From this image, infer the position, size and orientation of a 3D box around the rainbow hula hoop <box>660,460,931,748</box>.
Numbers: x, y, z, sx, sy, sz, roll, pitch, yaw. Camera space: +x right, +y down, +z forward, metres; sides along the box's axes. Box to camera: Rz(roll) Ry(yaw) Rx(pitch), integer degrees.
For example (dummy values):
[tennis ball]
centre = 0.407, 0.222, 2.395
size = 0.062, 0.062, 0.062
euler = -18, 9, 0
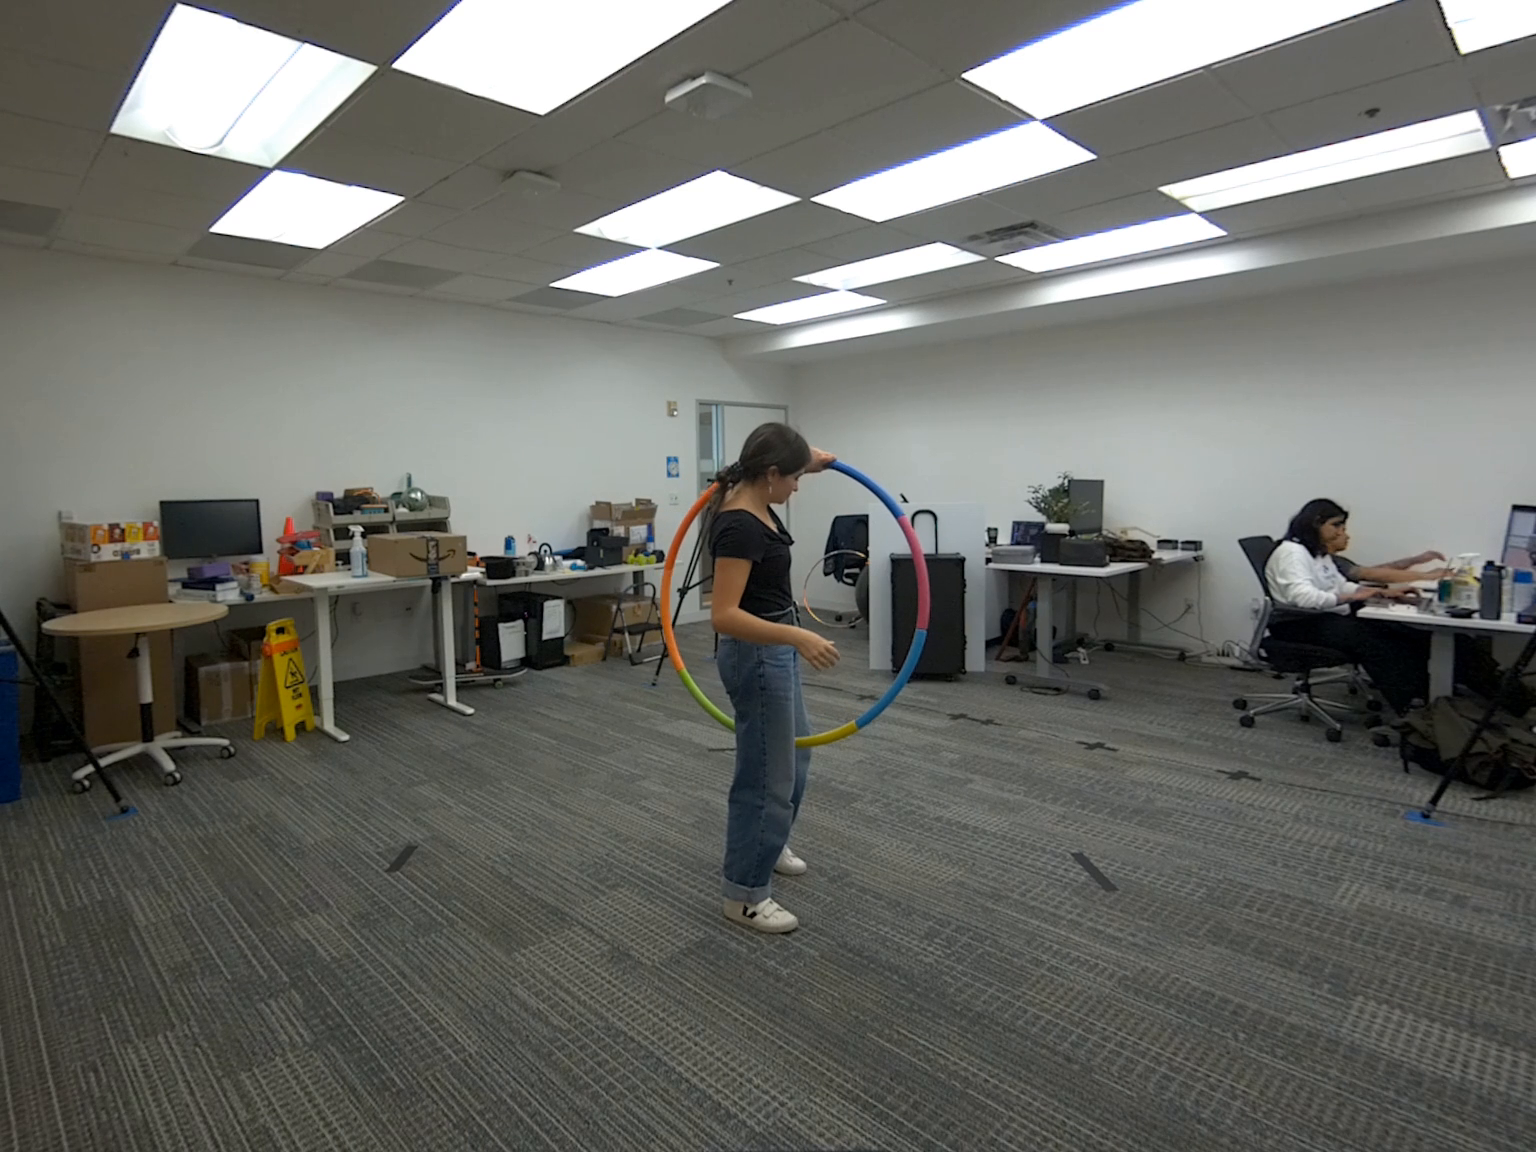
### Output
[rainbow hula hoop]
centre = 0.055, 0.067, 2.899
size = 1.003, 0.983, 0.034
euler = 1, -5, 28
